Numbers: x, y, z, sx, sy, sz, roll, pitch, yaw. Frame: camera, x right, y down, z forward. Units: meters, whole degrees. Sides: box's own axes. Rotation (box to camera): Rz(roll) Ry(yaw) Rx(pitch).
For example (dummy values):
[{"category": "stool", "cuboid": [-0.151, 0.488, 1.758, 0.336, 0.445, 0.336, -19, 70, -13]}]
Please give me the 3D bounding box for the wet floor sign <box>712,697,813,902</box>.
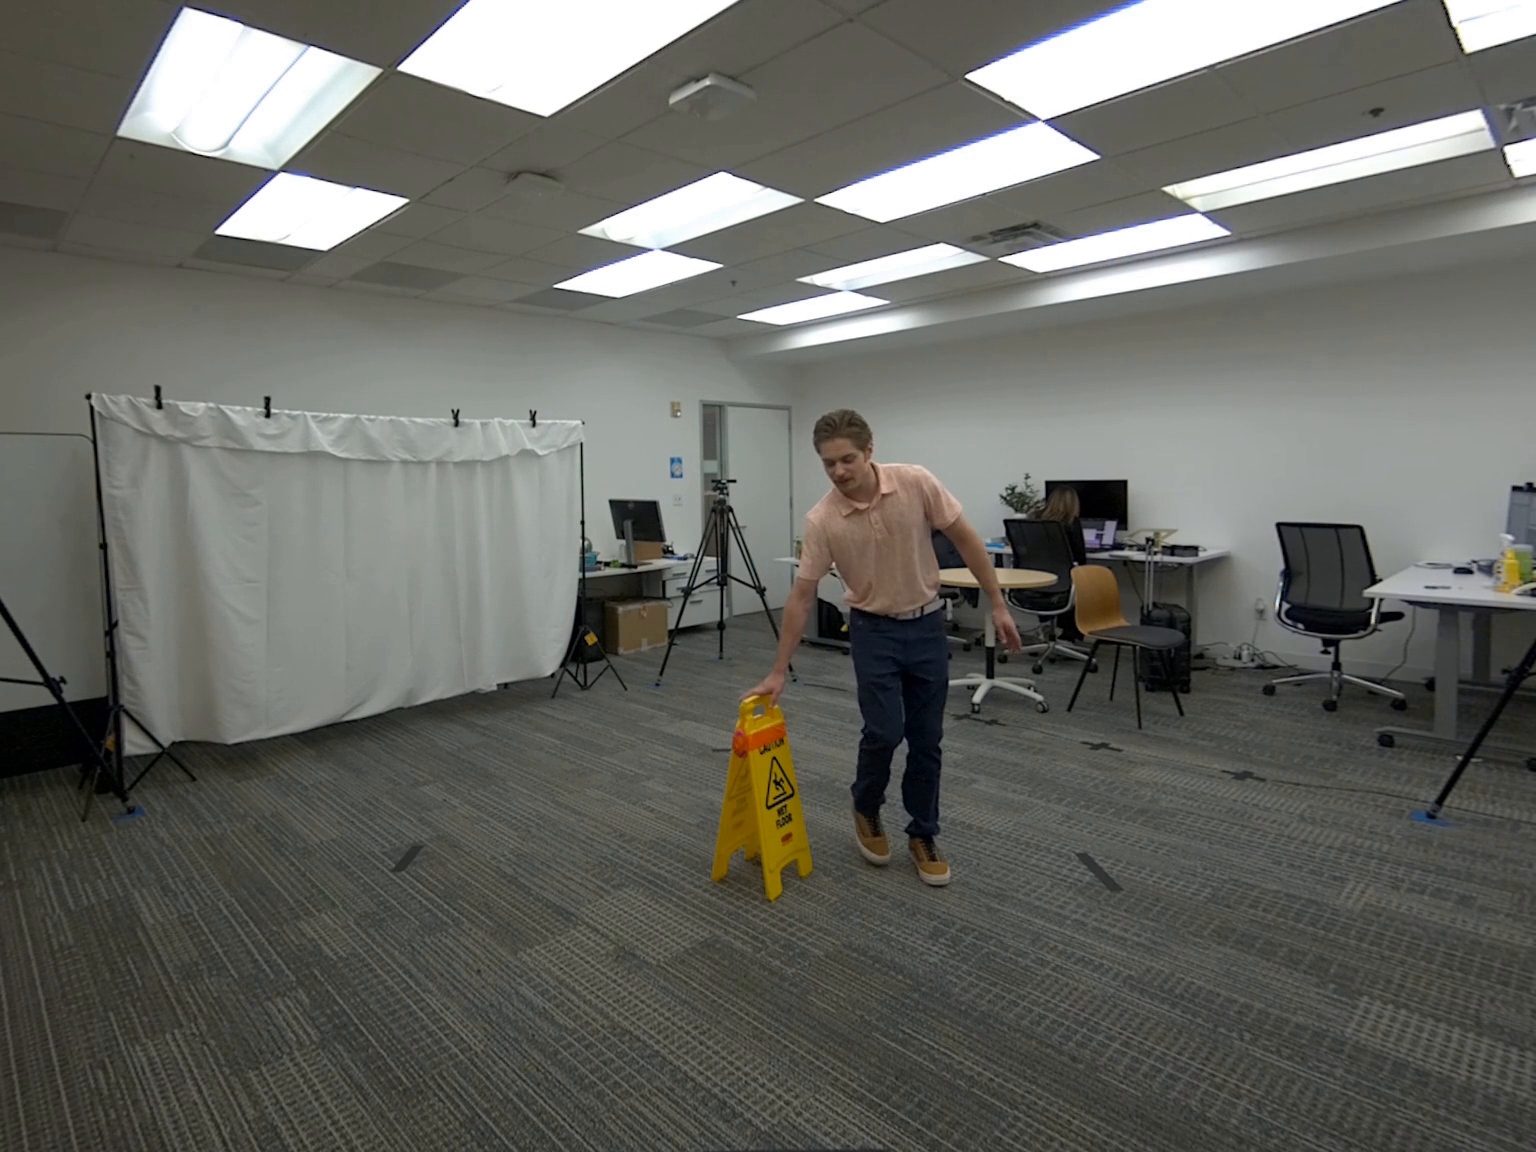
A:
[{"category": "wet floor sign", "cuboid": [-0.026, 0.734, 2.994, 0.298, 0.644, 0.275, 1, 4, 35]}]
